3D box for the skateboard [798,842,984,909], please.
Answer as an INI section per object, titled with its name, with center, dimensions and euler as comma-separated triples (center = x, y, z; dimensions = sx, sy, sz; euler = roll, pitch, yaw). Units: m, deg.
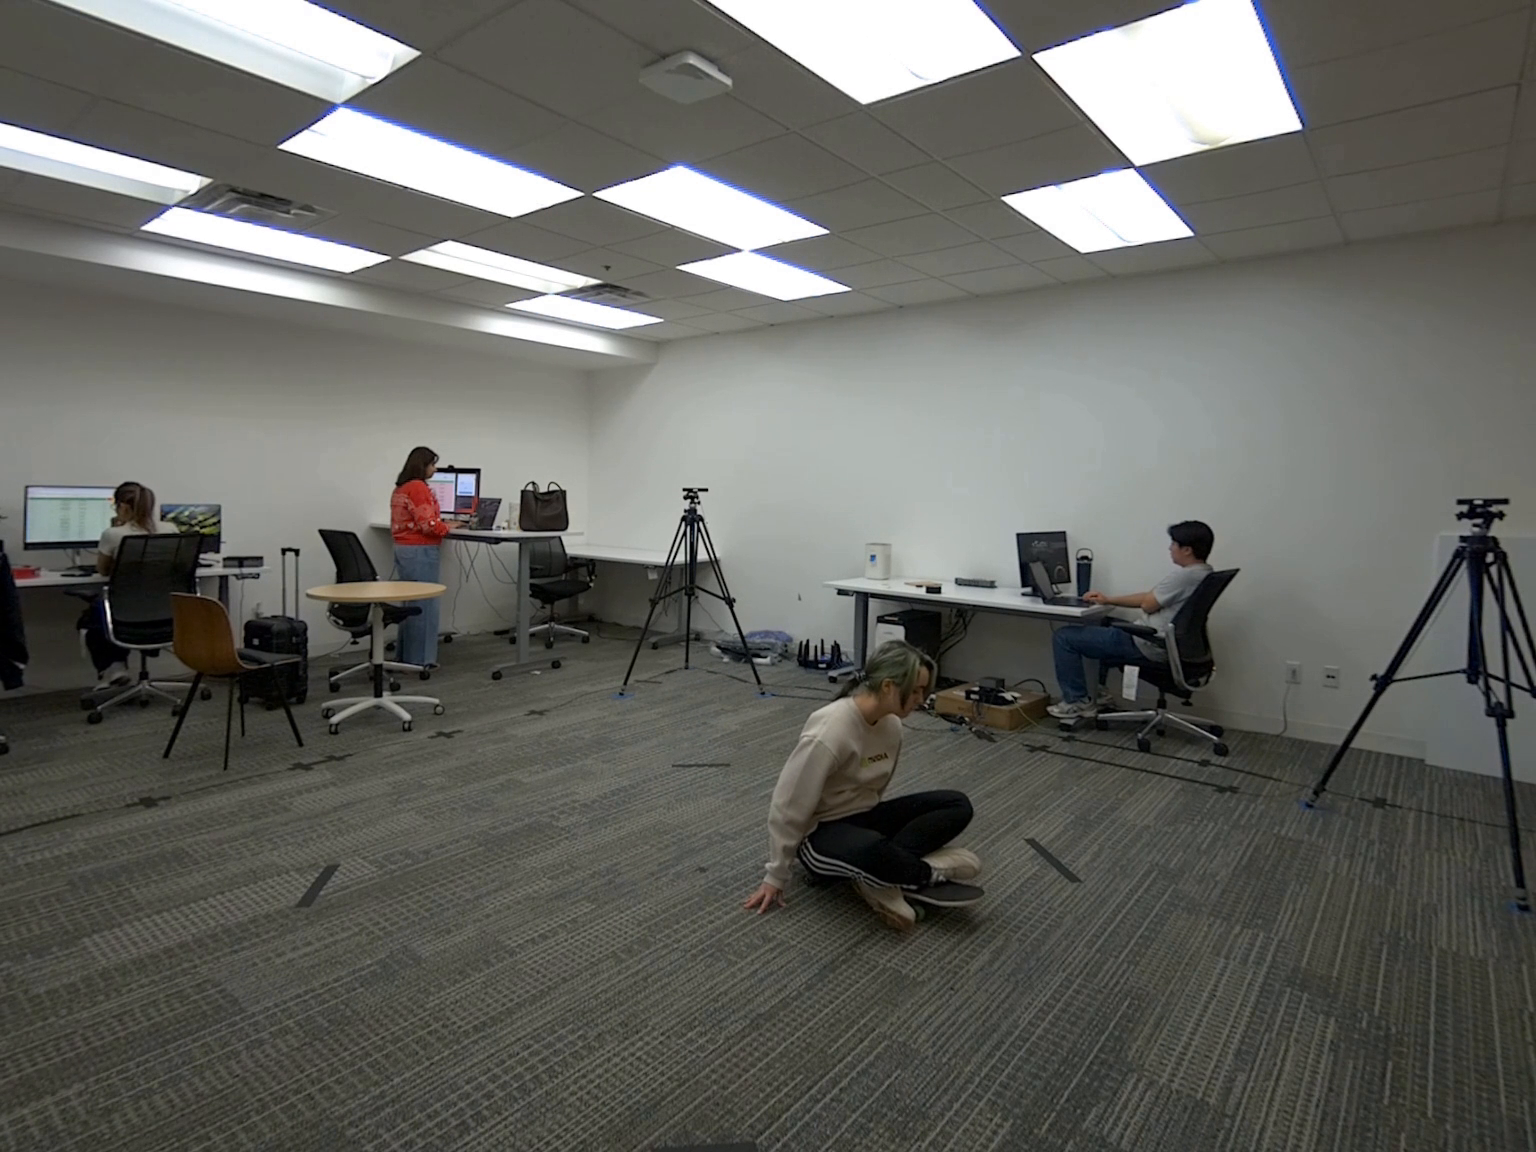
[skateboard]
center = 0.371, 1.048, 2.945
dimensions = 0.810, 0.110, 0.187
euler = 3, 2, 35
